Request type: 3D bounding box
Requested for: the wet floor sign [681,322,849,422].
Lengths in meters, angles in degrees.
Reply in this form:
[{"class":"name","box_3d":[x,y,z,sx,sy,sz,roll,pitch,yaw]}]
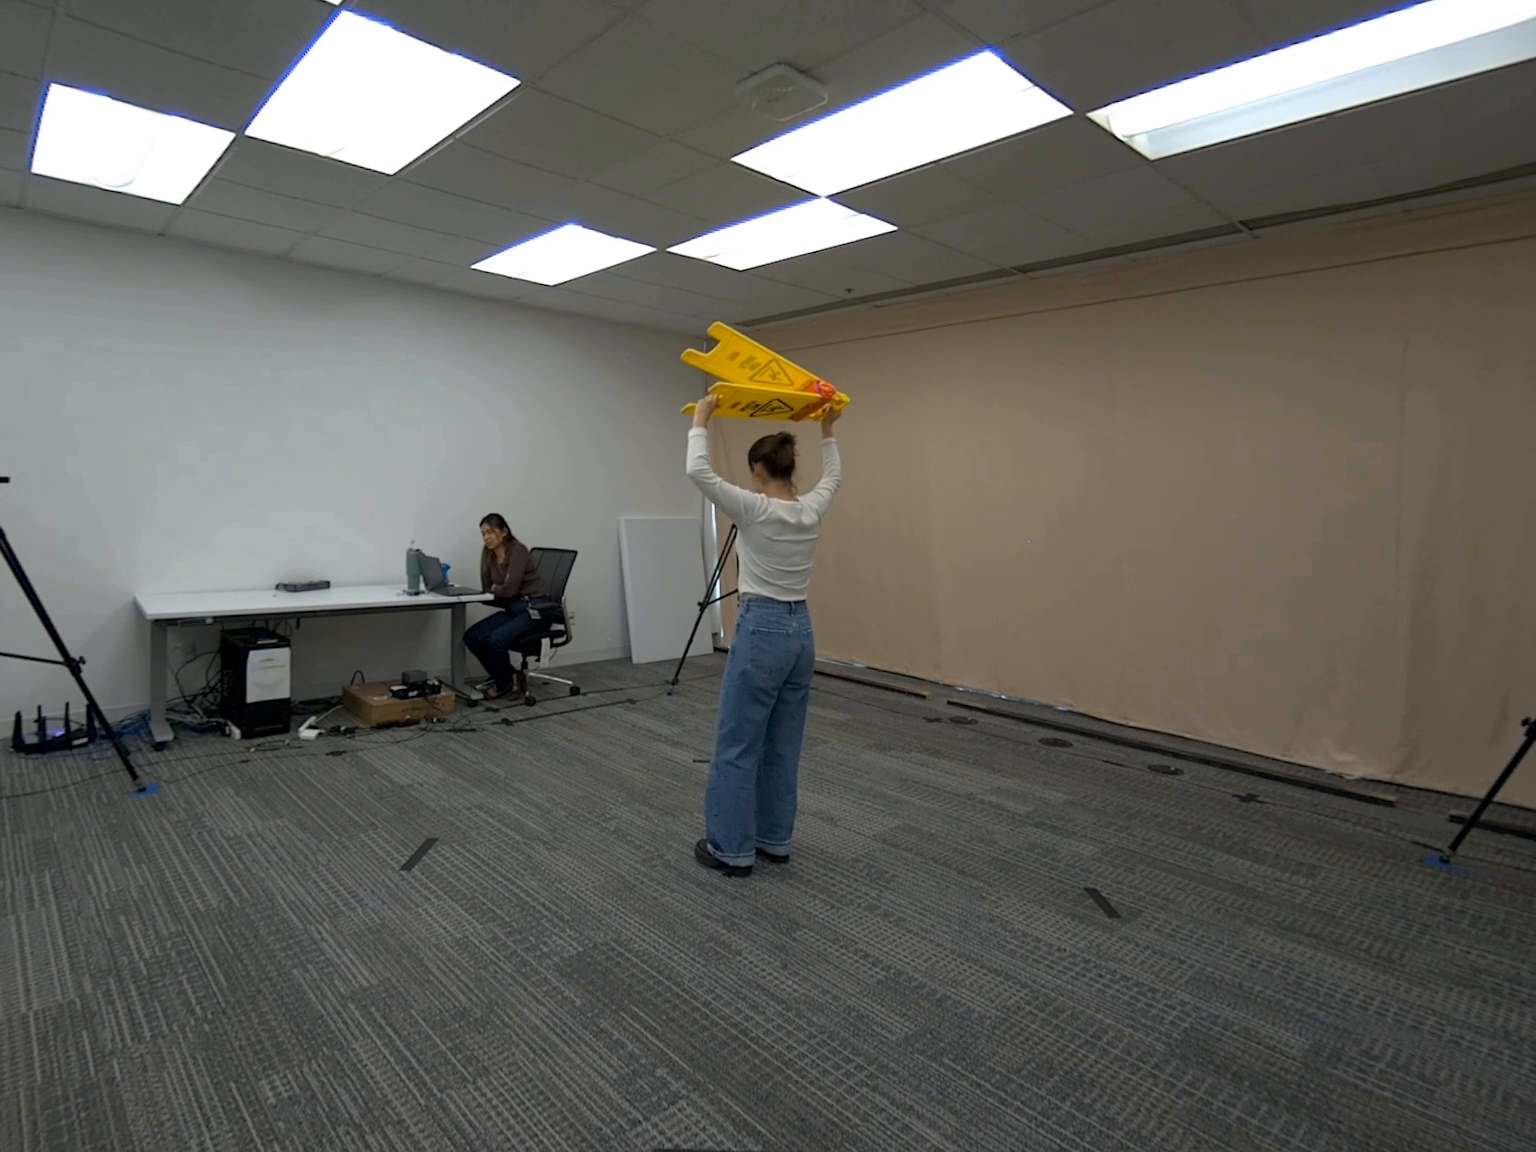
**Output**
[{"class":"wet floor sign","box_3d":[0.004,-0.720,3.272,0.630,0.293,0.285,9,-20,-33]}]
